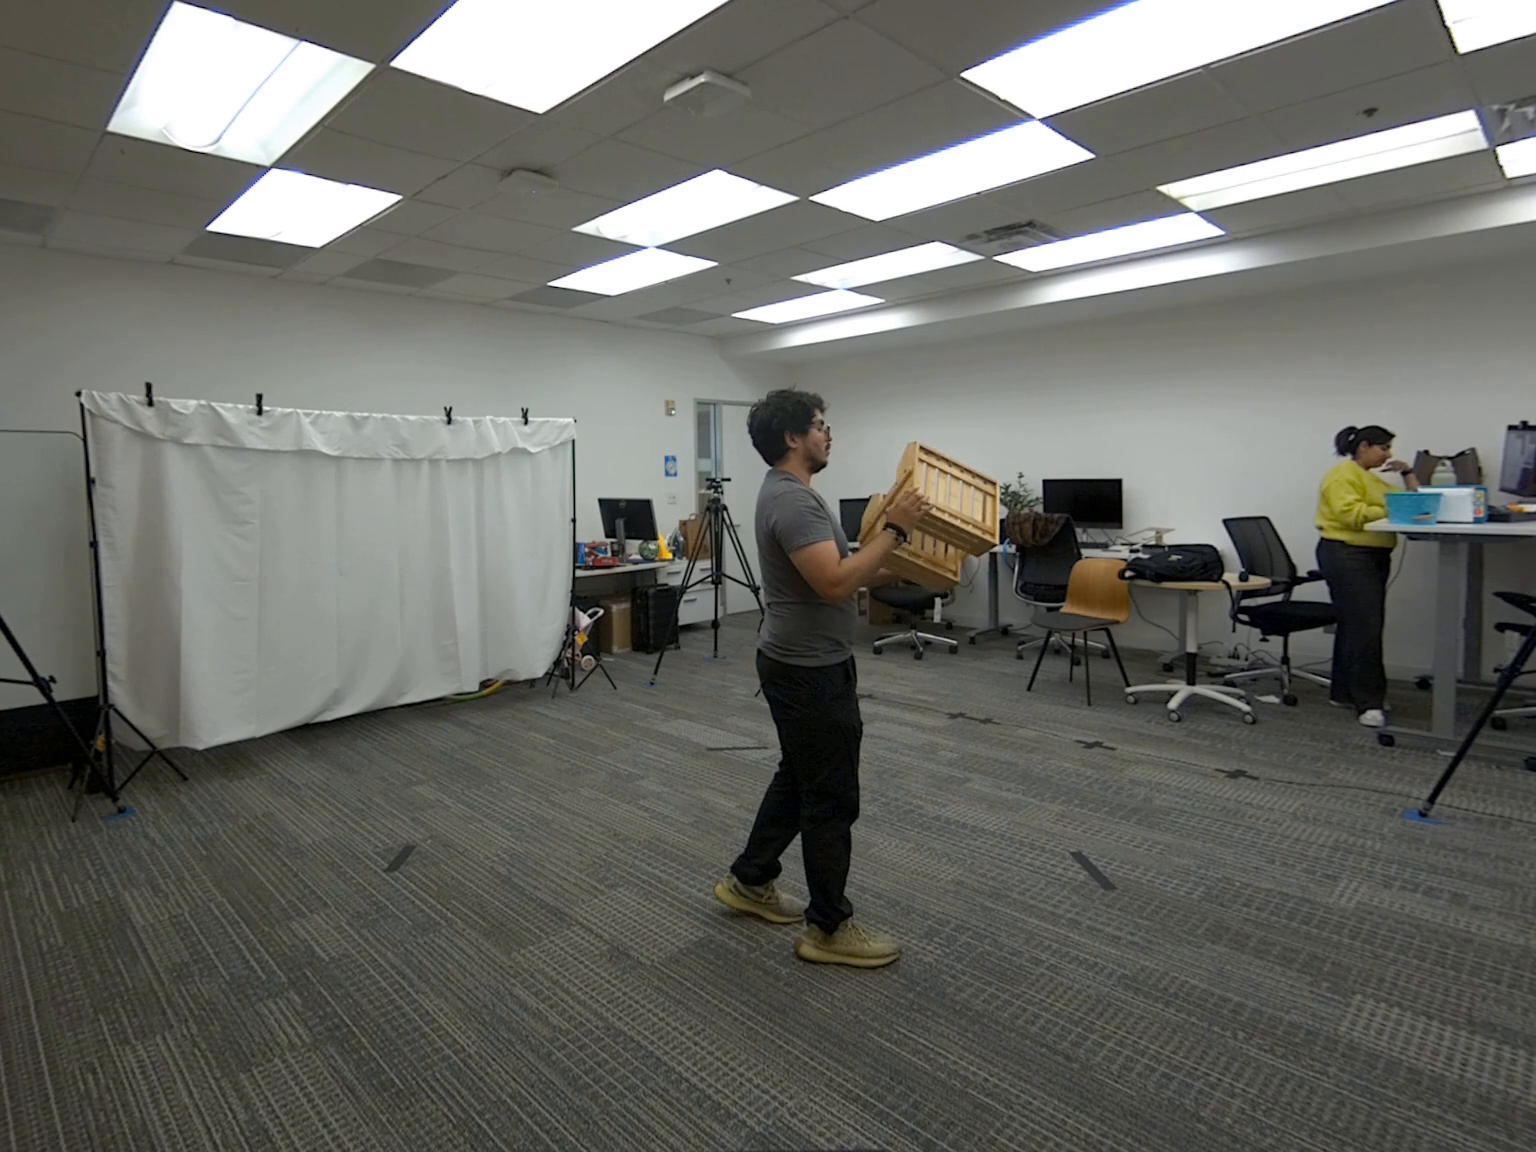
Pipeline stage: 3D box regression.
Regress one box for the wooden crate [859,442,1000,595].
[{"bbox_3d":[0.478,-0.174,2.556,0.318,0.308,0.273,22,-34,-17],"label":"wooden crate"}]
